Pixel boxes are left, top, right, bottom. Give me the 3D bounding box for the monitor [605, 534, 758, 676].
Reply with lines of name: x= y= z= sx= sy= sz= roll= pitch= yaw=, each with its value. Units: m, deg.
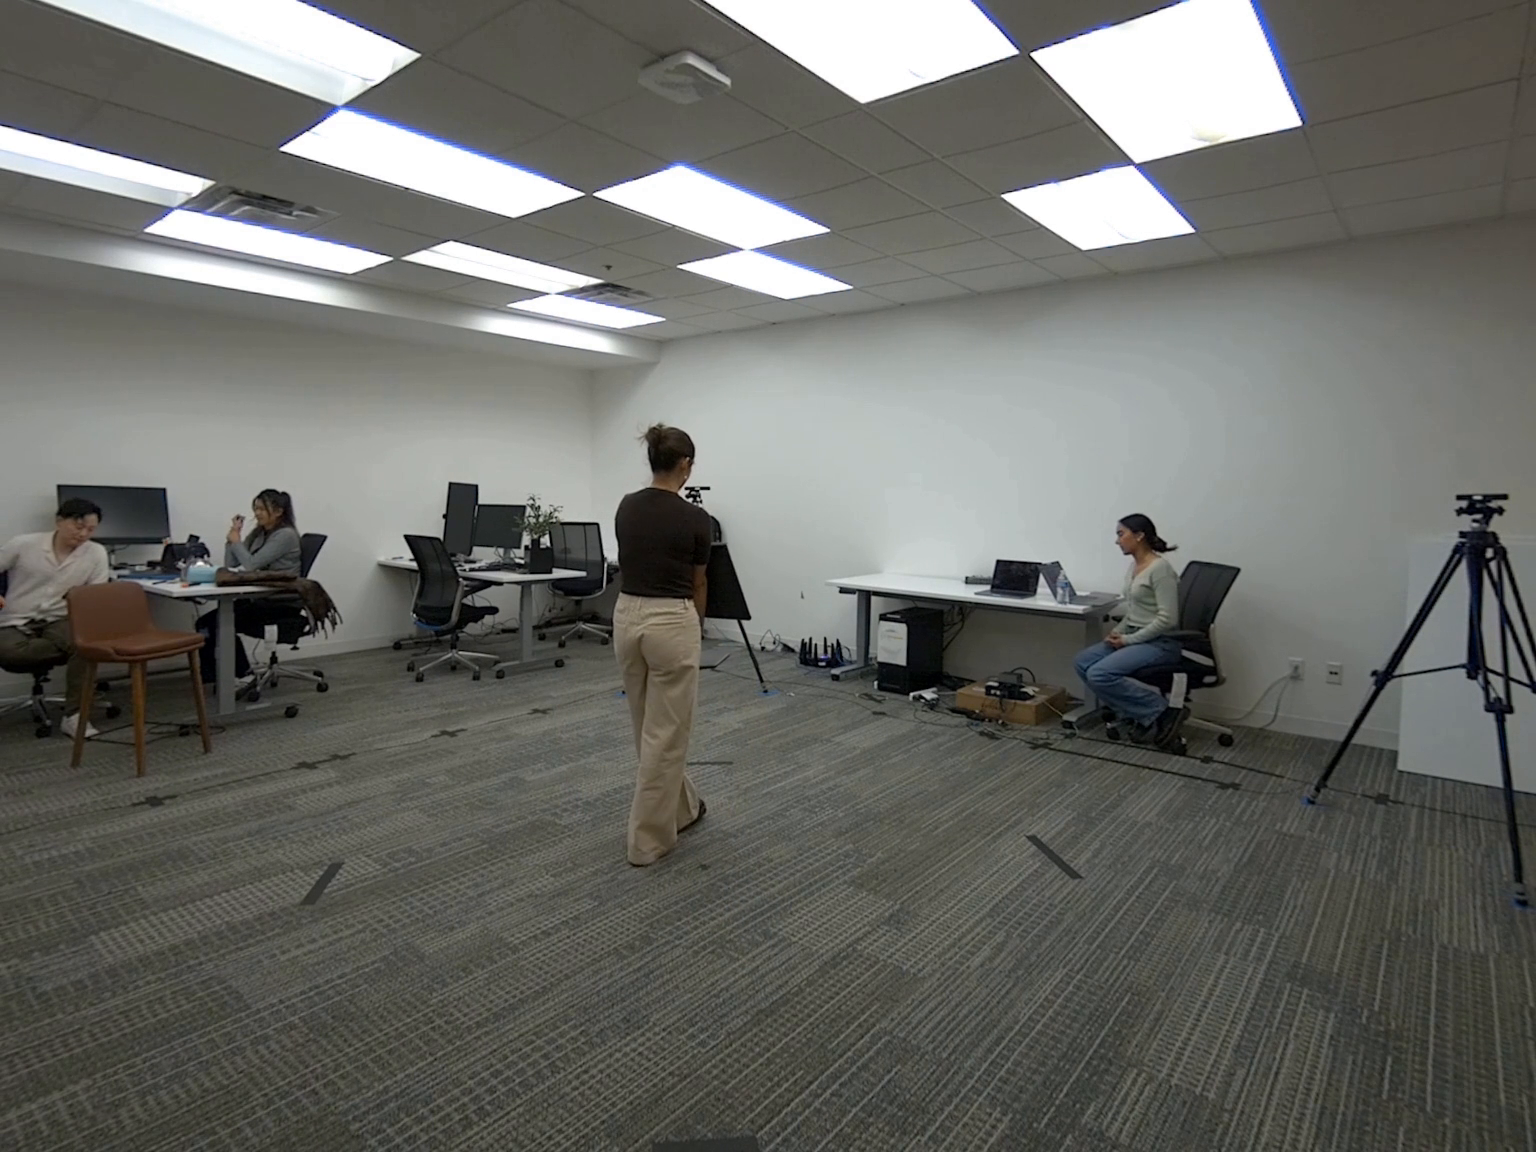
monitor: x=-0.360 y=0.107 z=3.463 sx=0.555 sy=0.515 sz=0.184 roll=0 pitch=15 yaw=32
